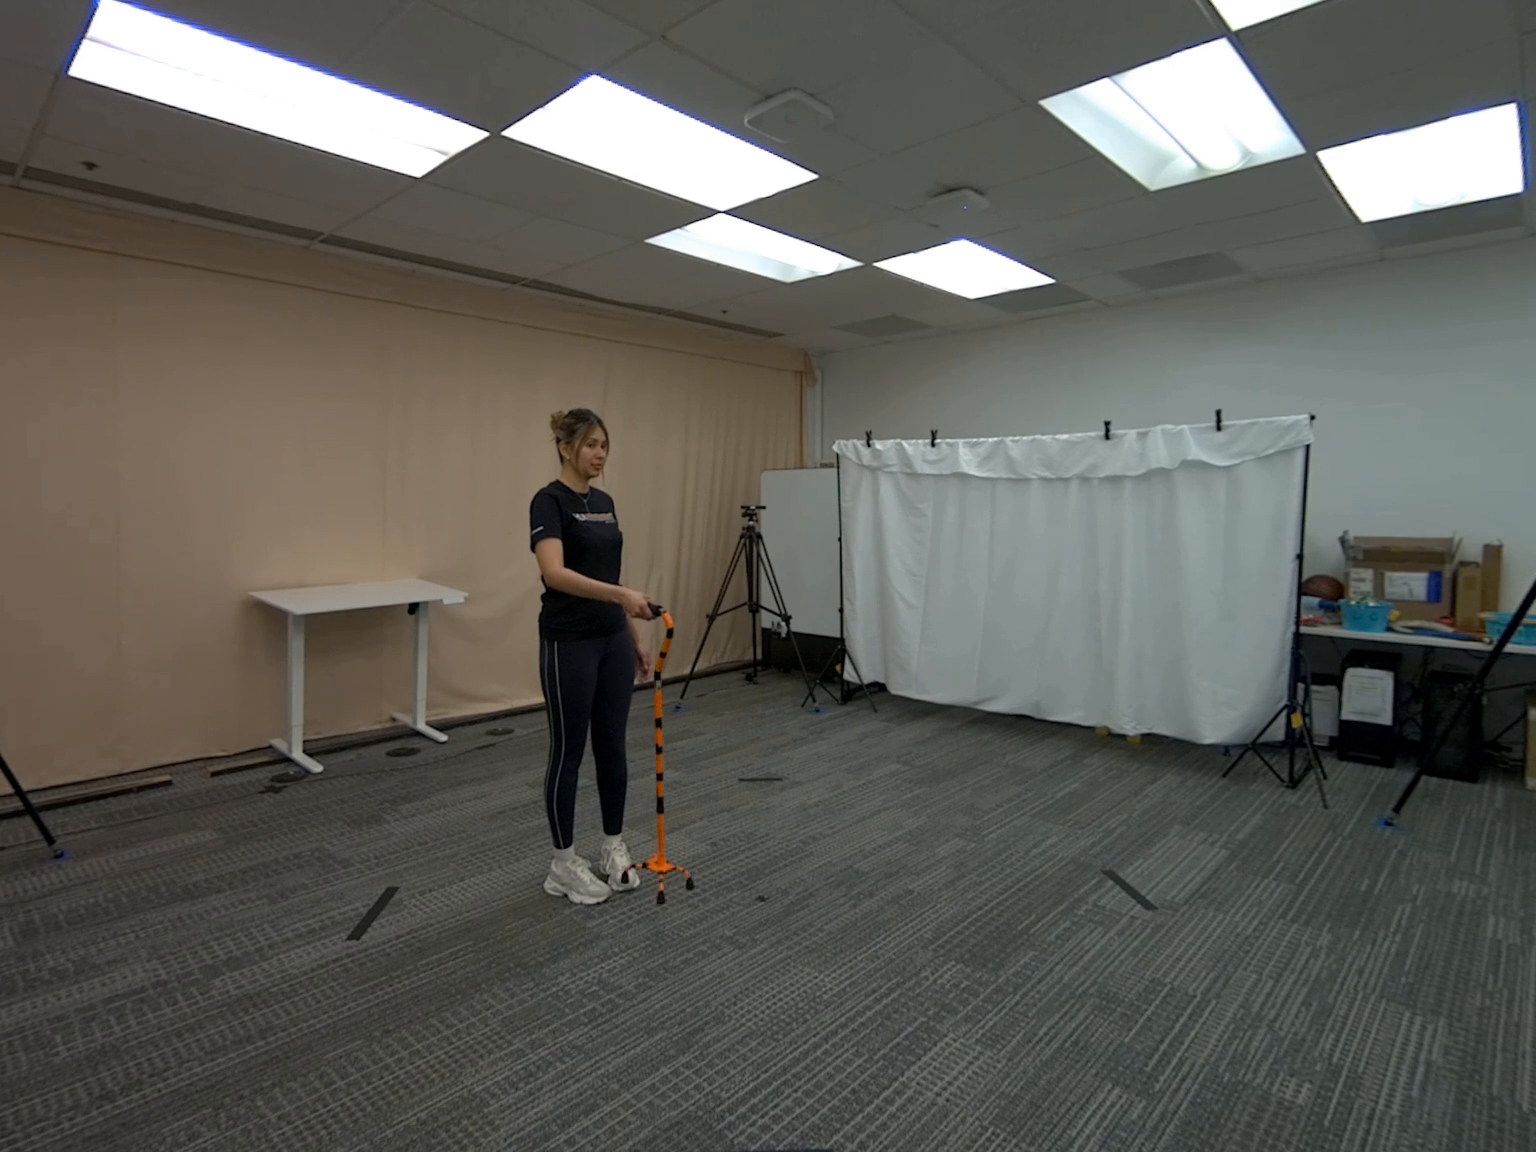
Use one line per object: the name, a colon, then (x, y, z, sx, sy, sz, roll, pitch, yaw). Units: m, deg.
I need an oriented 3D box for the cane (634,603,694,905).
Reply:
cane: (-0.353, 0.551, 2.648, 0.213, 0.904, 0.147, 7, 8, 40)
